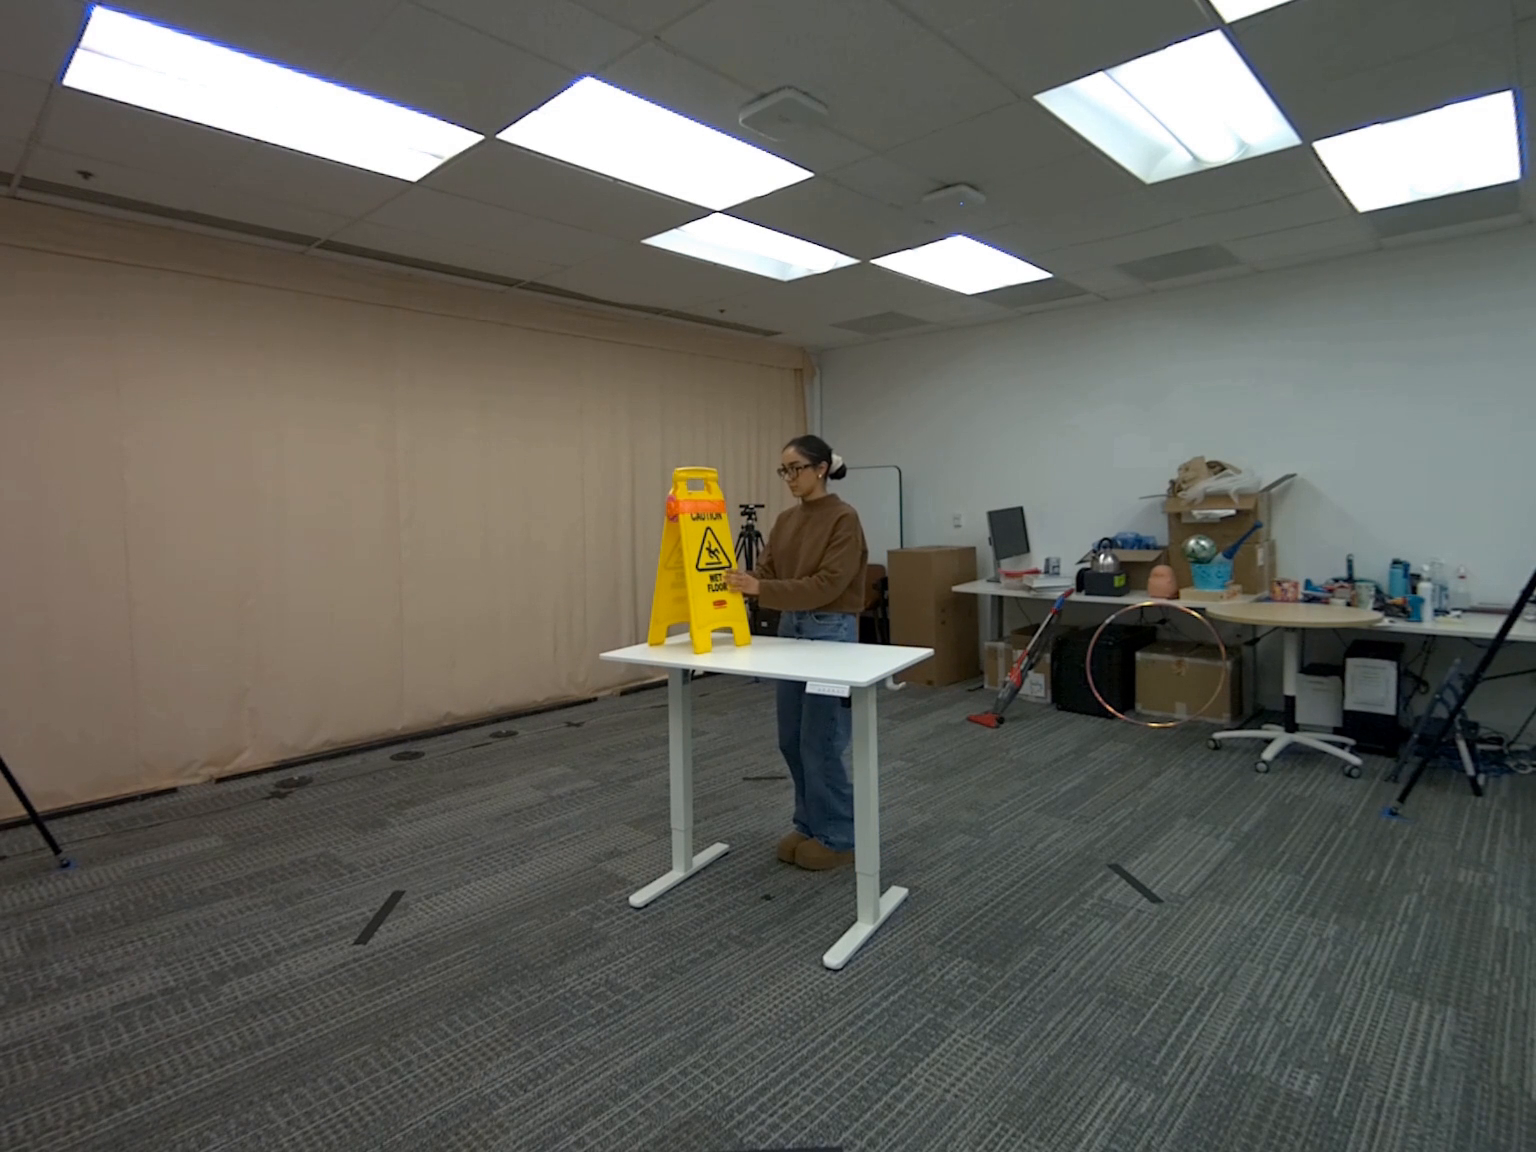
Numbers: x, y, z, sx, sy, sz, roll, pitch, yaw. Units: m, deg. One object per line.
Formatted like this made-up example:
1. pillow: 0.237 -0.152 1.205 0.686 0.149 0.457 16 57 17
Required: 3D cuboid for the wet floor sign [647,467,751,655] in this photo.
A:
1. wet floor sign: -0.253 -0.067 3.074 0.299 0.644 0.274 3 5 45
